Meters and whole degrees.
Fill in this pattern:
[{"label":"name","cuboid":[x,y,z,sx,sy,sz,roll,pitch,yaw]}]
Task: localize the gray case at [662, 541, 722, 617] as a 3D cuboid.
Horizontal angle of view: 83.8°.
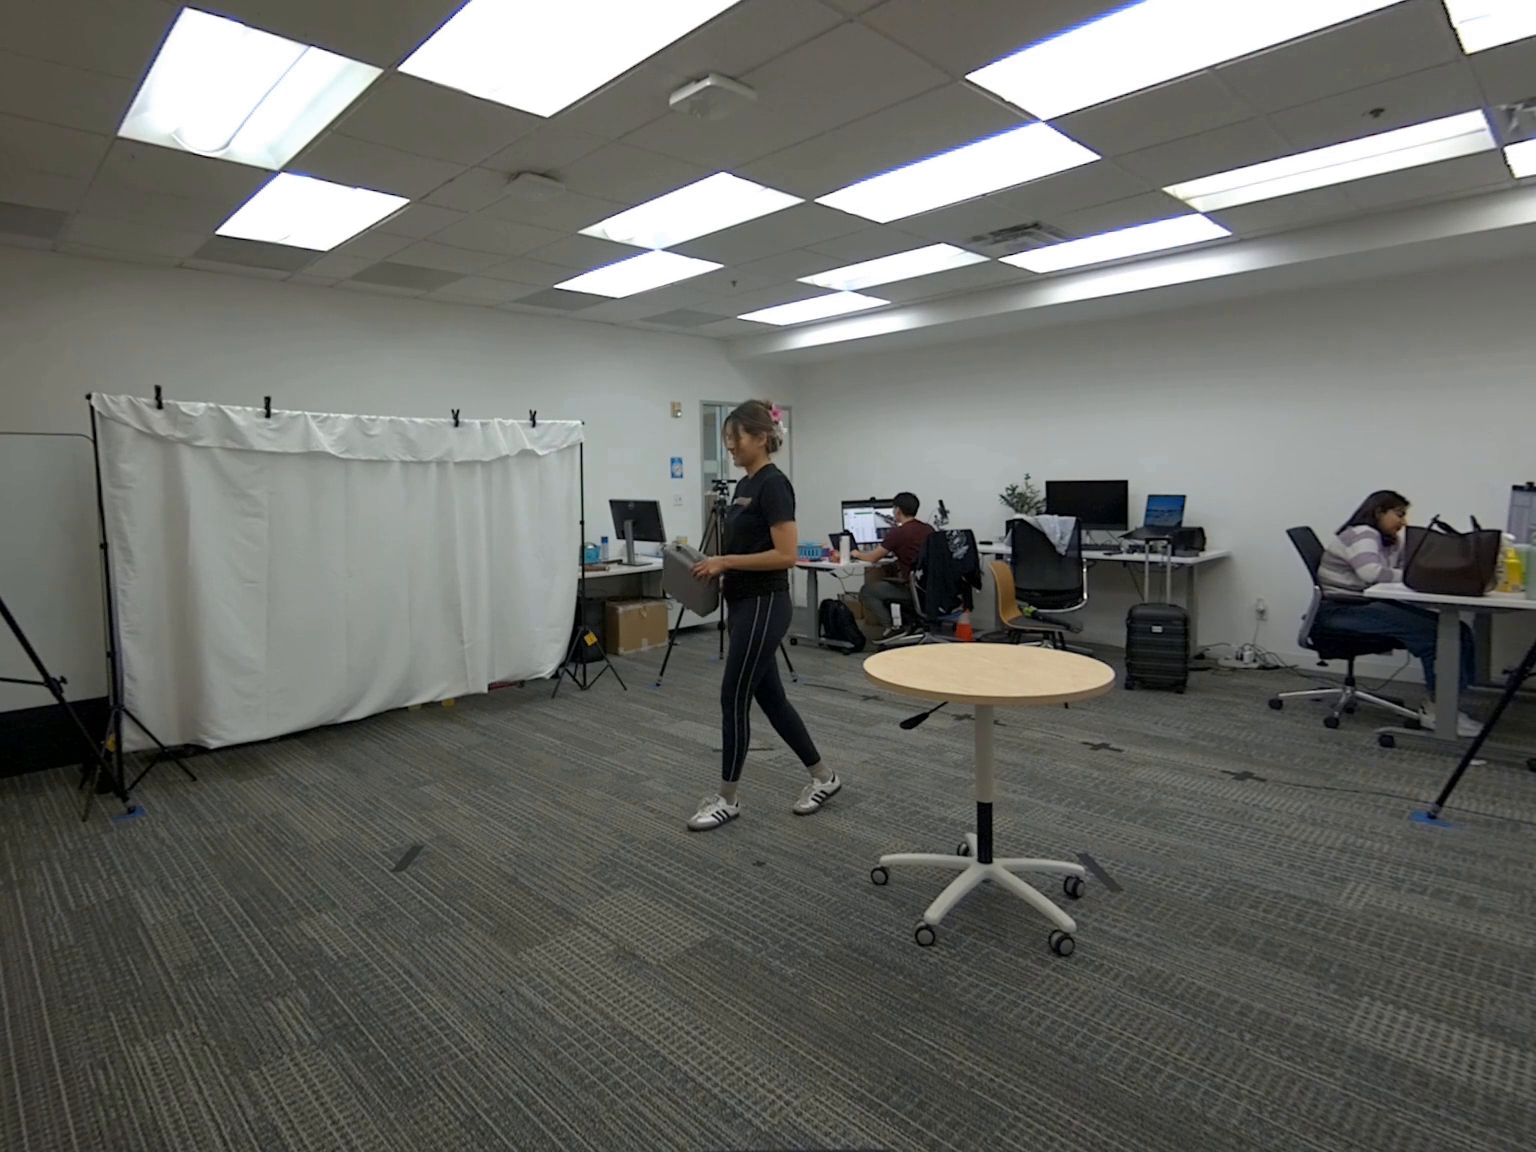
[{"label":"gray case","cuboid":[-0.308,0.007,3.491,0.266,0.254,0.103,34,49,30]}]
